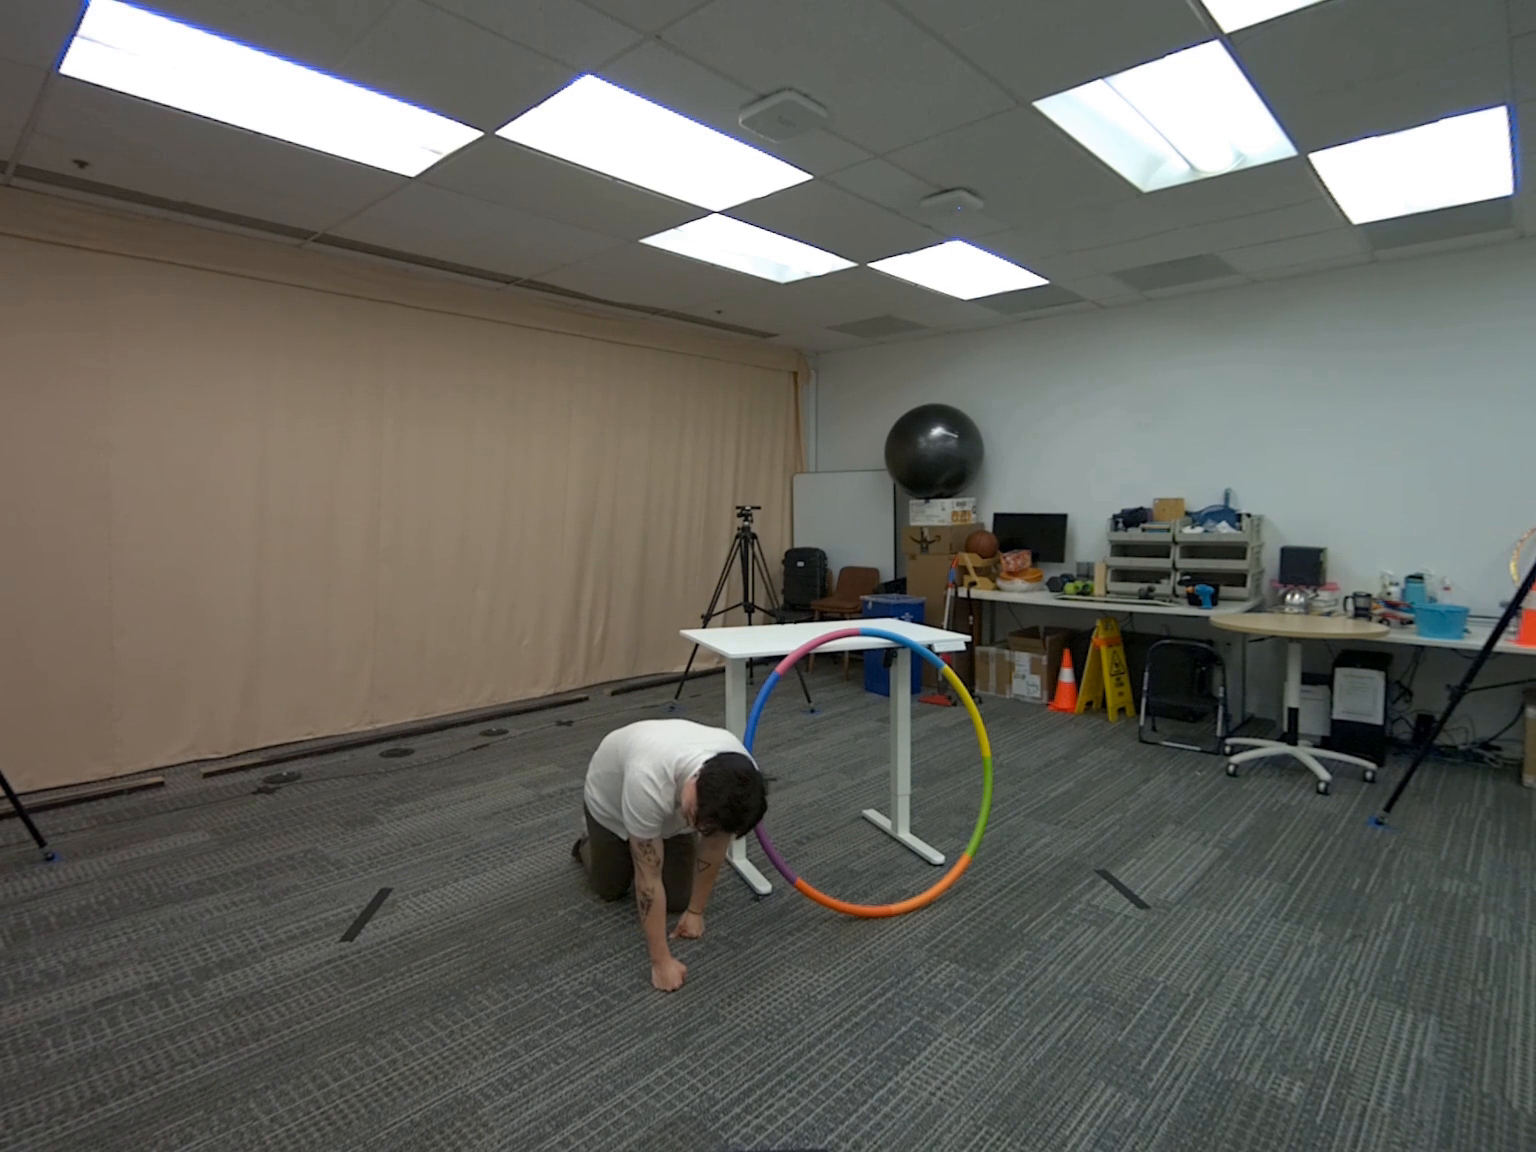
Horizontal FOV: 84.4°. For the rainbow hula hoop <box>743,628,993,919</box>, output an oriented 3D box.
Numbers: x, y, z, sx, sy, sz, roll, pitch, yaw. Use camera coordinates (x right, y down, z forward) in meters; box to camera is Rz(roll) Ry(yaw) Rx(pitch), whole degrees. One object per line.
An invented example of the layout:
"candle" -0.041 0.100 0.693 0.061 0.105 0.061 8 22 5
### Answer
"rainbow hula hoop" 0.390 0.678 2.959 0.958 0.988 0.036 -2 -13 -20
